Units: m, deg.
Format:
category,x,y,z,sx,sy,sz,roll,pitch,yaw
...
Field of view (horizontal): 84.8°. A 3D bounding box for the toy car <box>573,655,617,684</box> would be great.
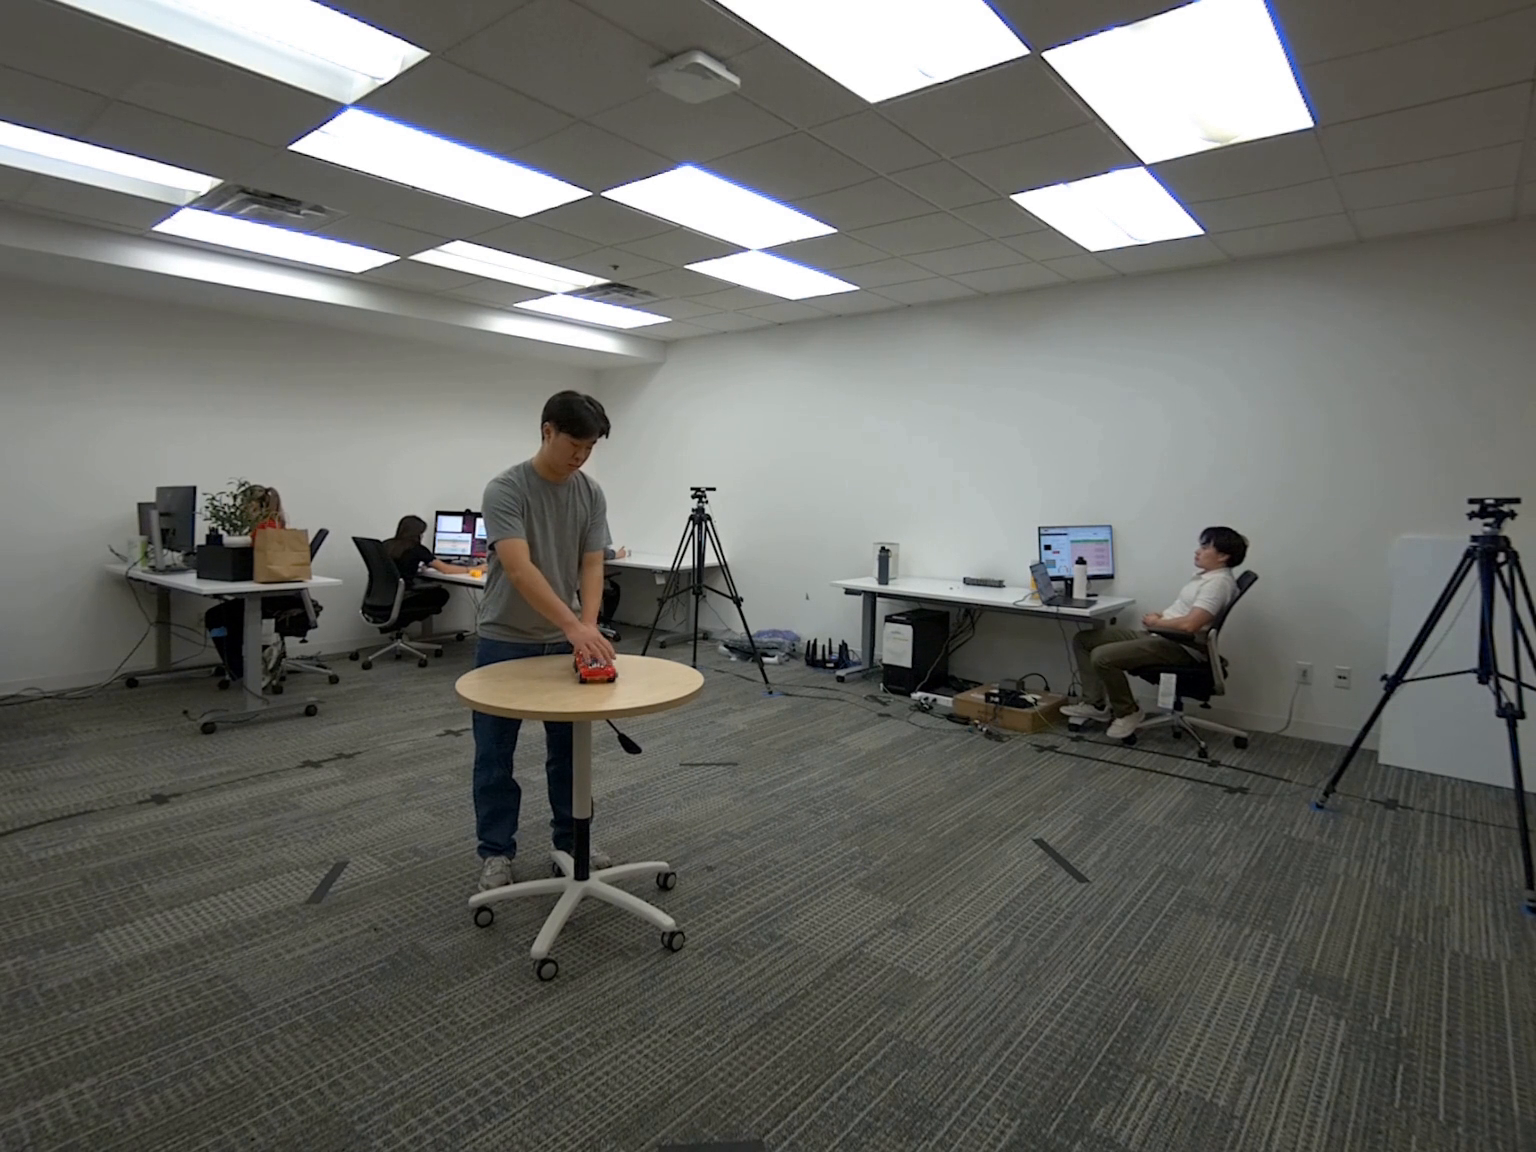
category,x,y,z,sx,sy,sz,roll,pitch,yaw
toy car,-0.567,0.284,2.708,0.128,0.082,0.262,-1,18,-14
